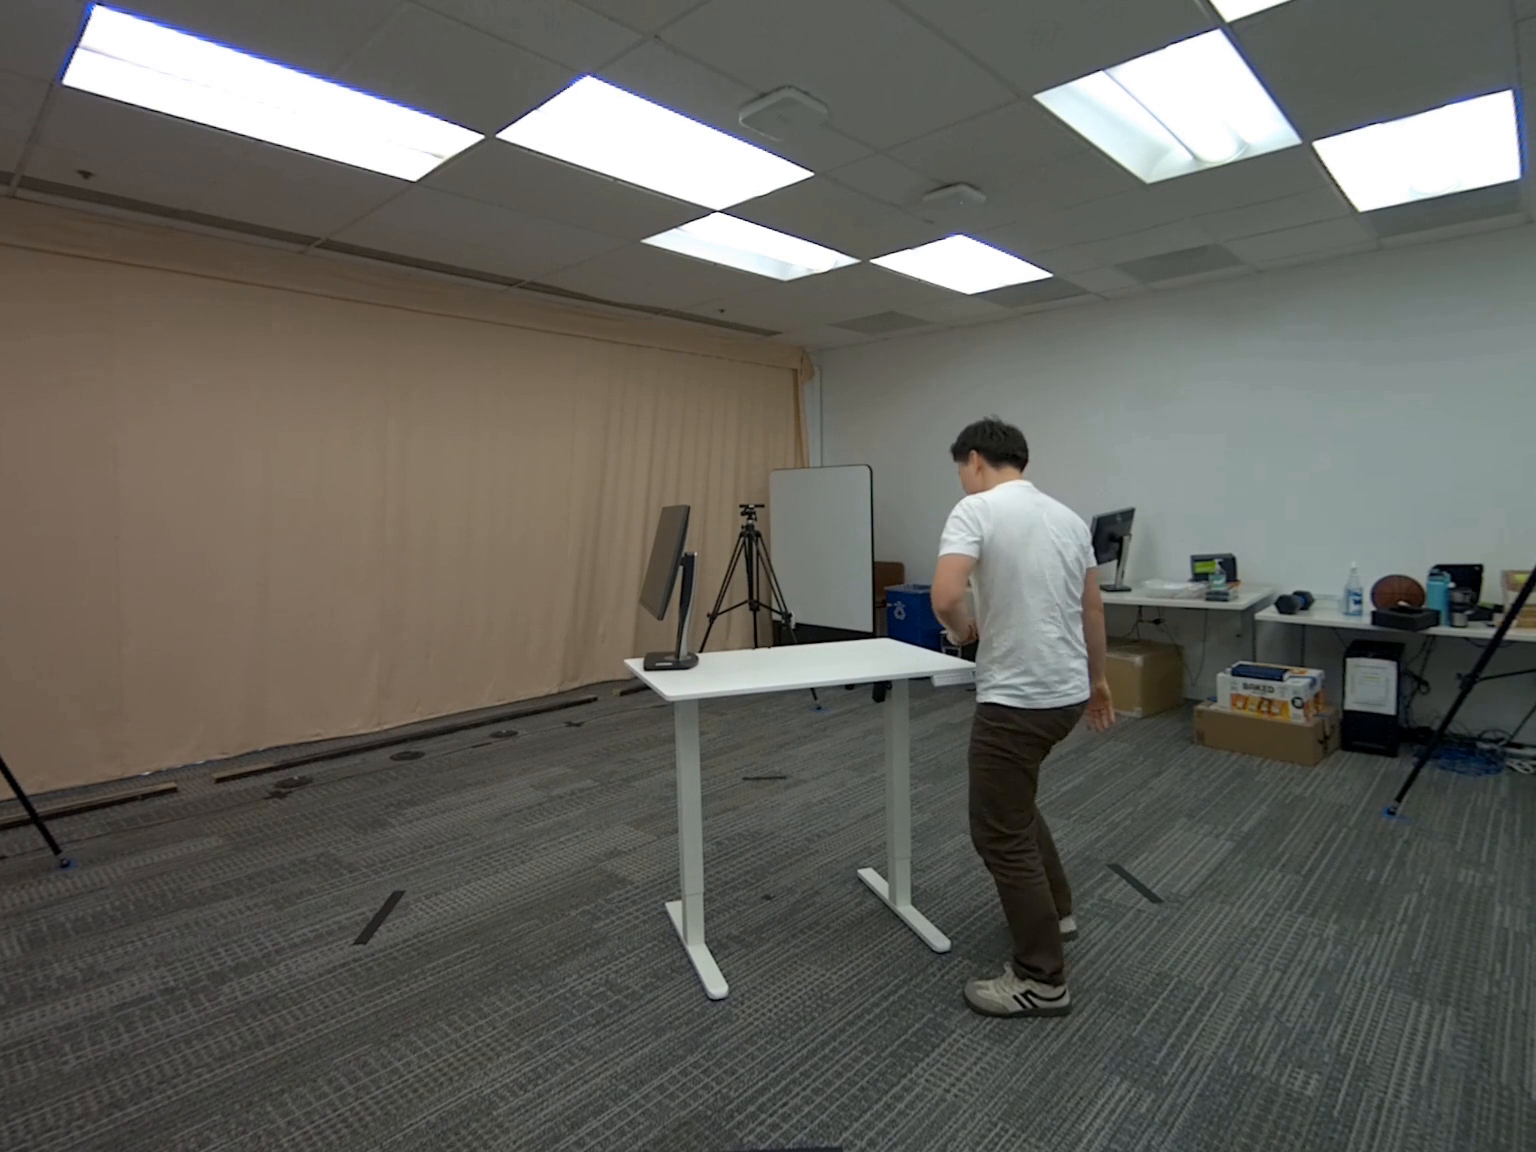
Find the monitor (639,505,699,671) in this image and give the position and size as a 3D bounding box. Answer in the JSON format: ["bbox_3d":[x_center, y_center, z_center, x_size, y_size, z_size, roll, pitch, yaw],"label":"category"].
[{"bbox_3d":[-0.315,0.034,2.755,0.184,0.522,0.549,-1,3,-17],"label":"monitor"}]
